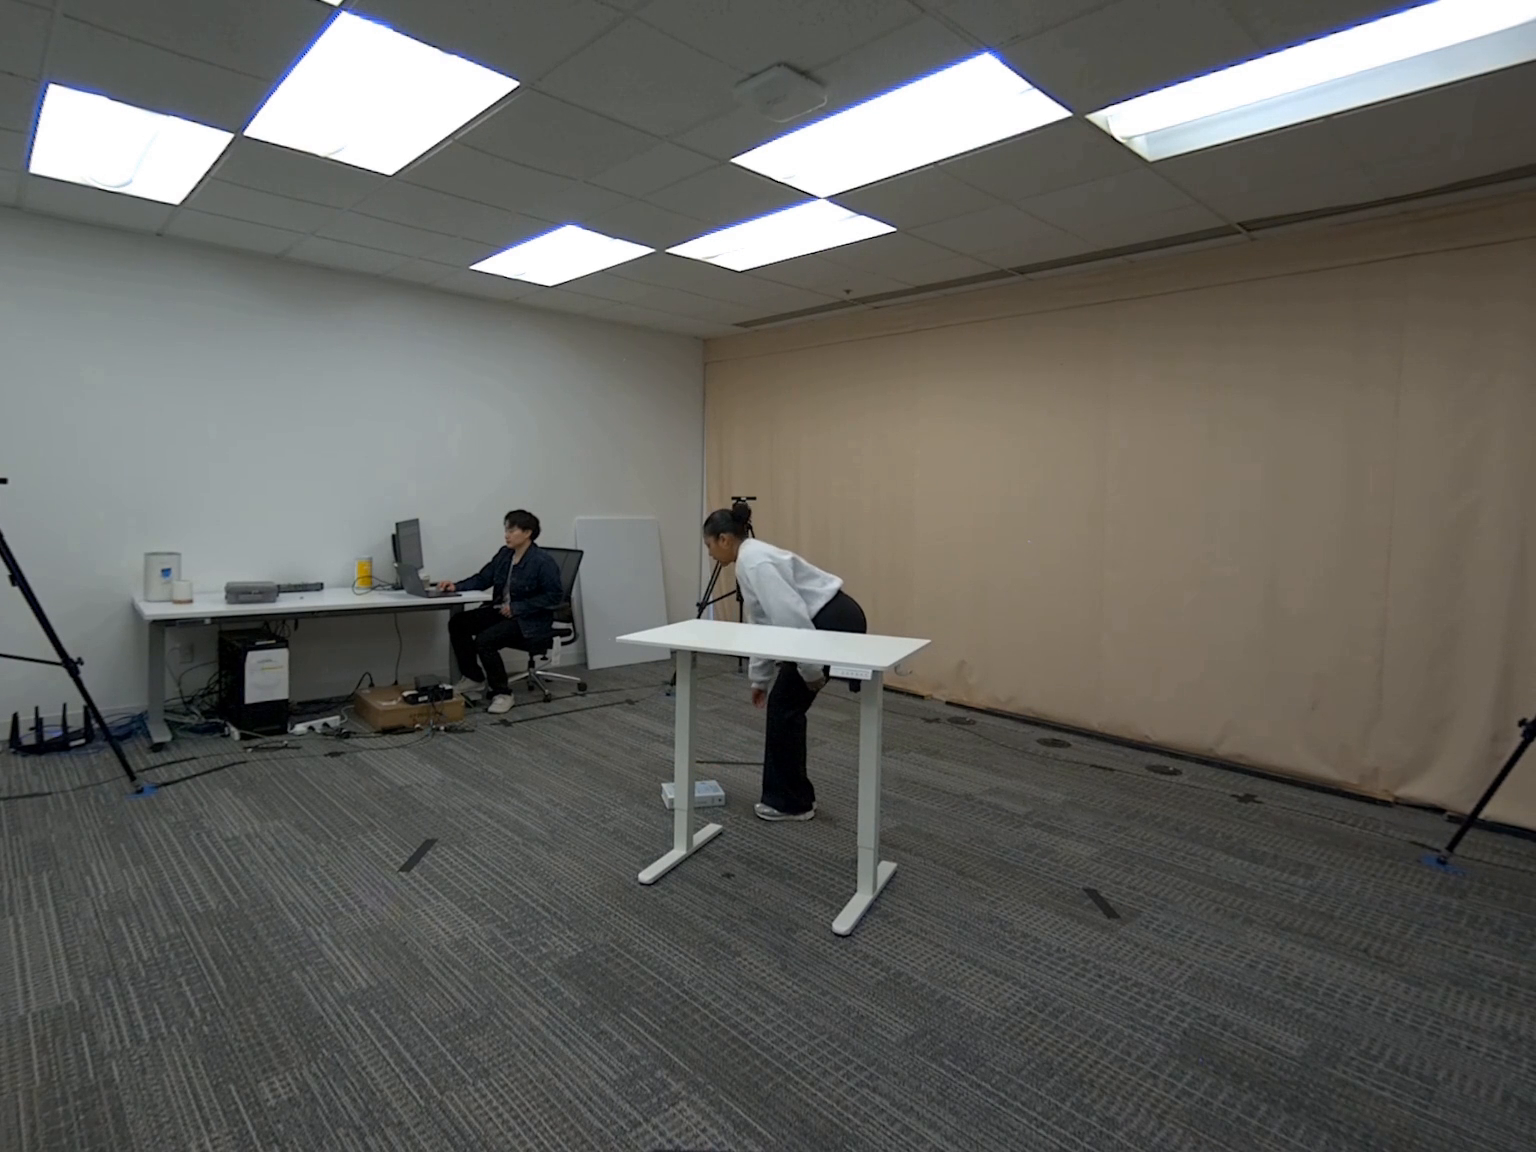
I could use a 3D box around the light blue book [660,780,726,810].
[{"bbox_3d":[-0.349,0.996,3.861,0.258,0.059,0.194,0,4,-15],"label":"light blue book"}]
